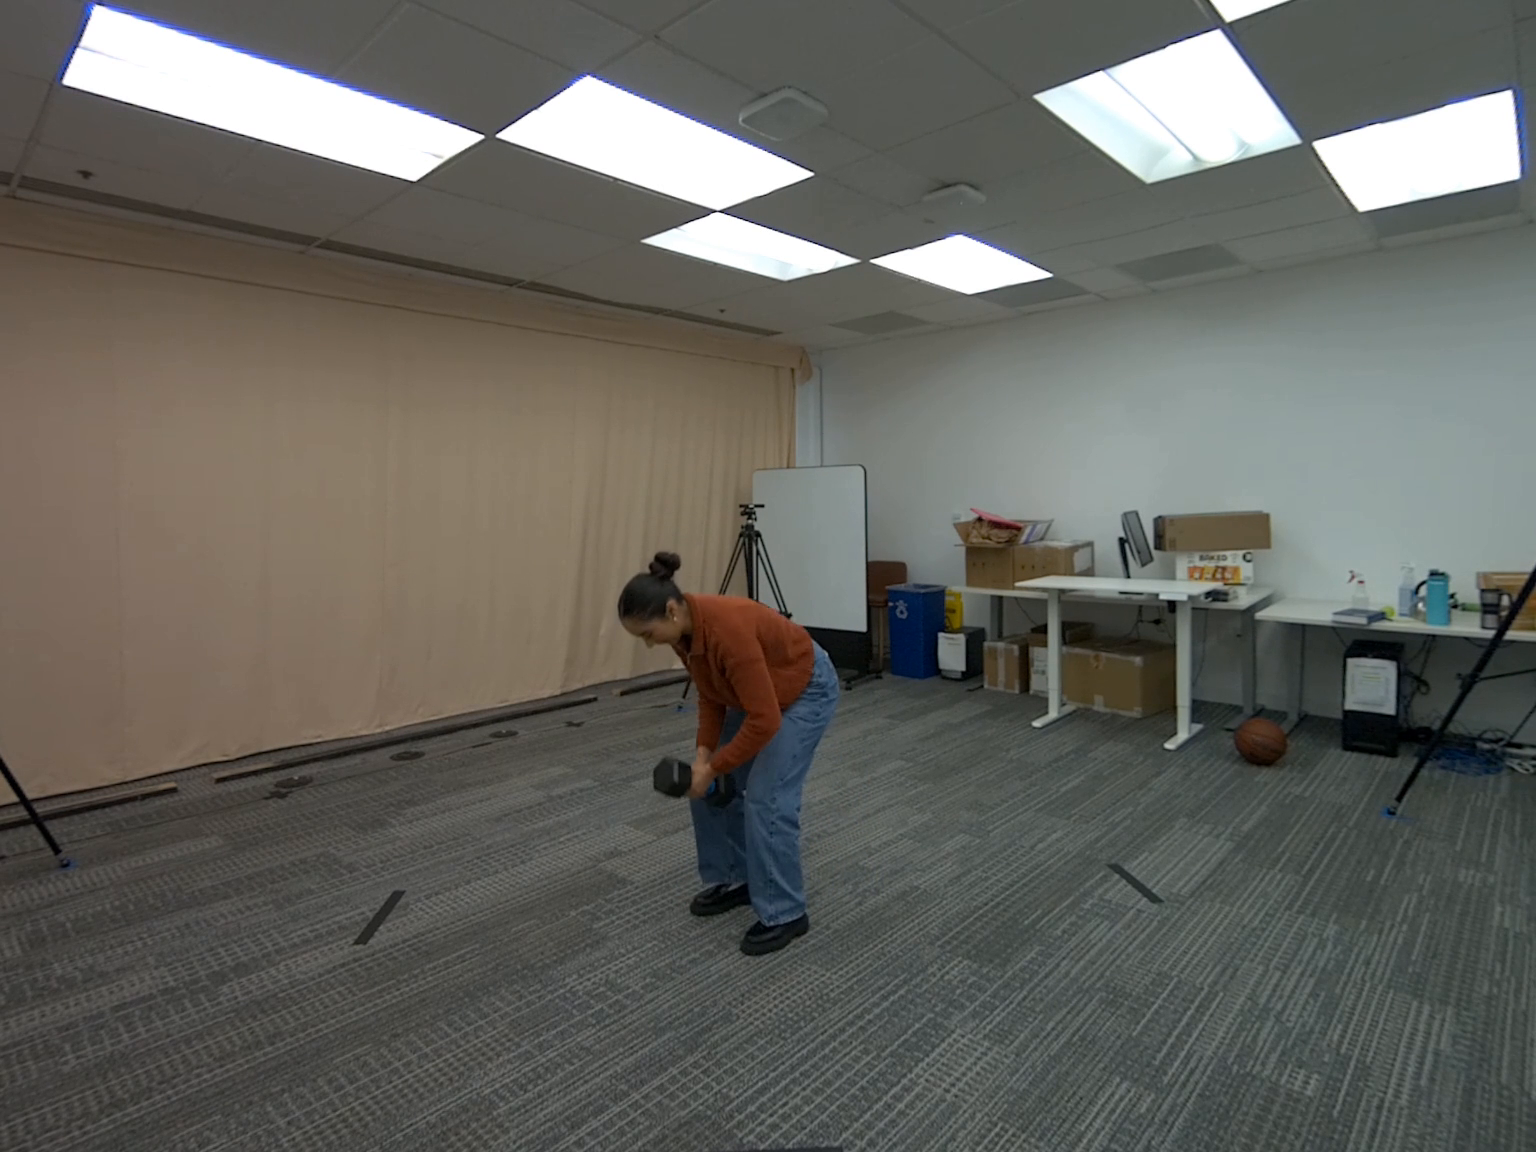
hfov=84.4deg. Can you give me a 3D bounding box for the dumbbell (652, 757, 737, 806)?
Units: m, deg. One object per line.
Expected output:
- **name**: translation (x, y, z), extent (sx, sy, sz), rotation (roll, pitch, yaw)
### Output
- **dumbbell**: translation (-0.226, 0.646, 2.658), extent (0.127, 0.109, 0.283), rotation (9, -14, 46)
